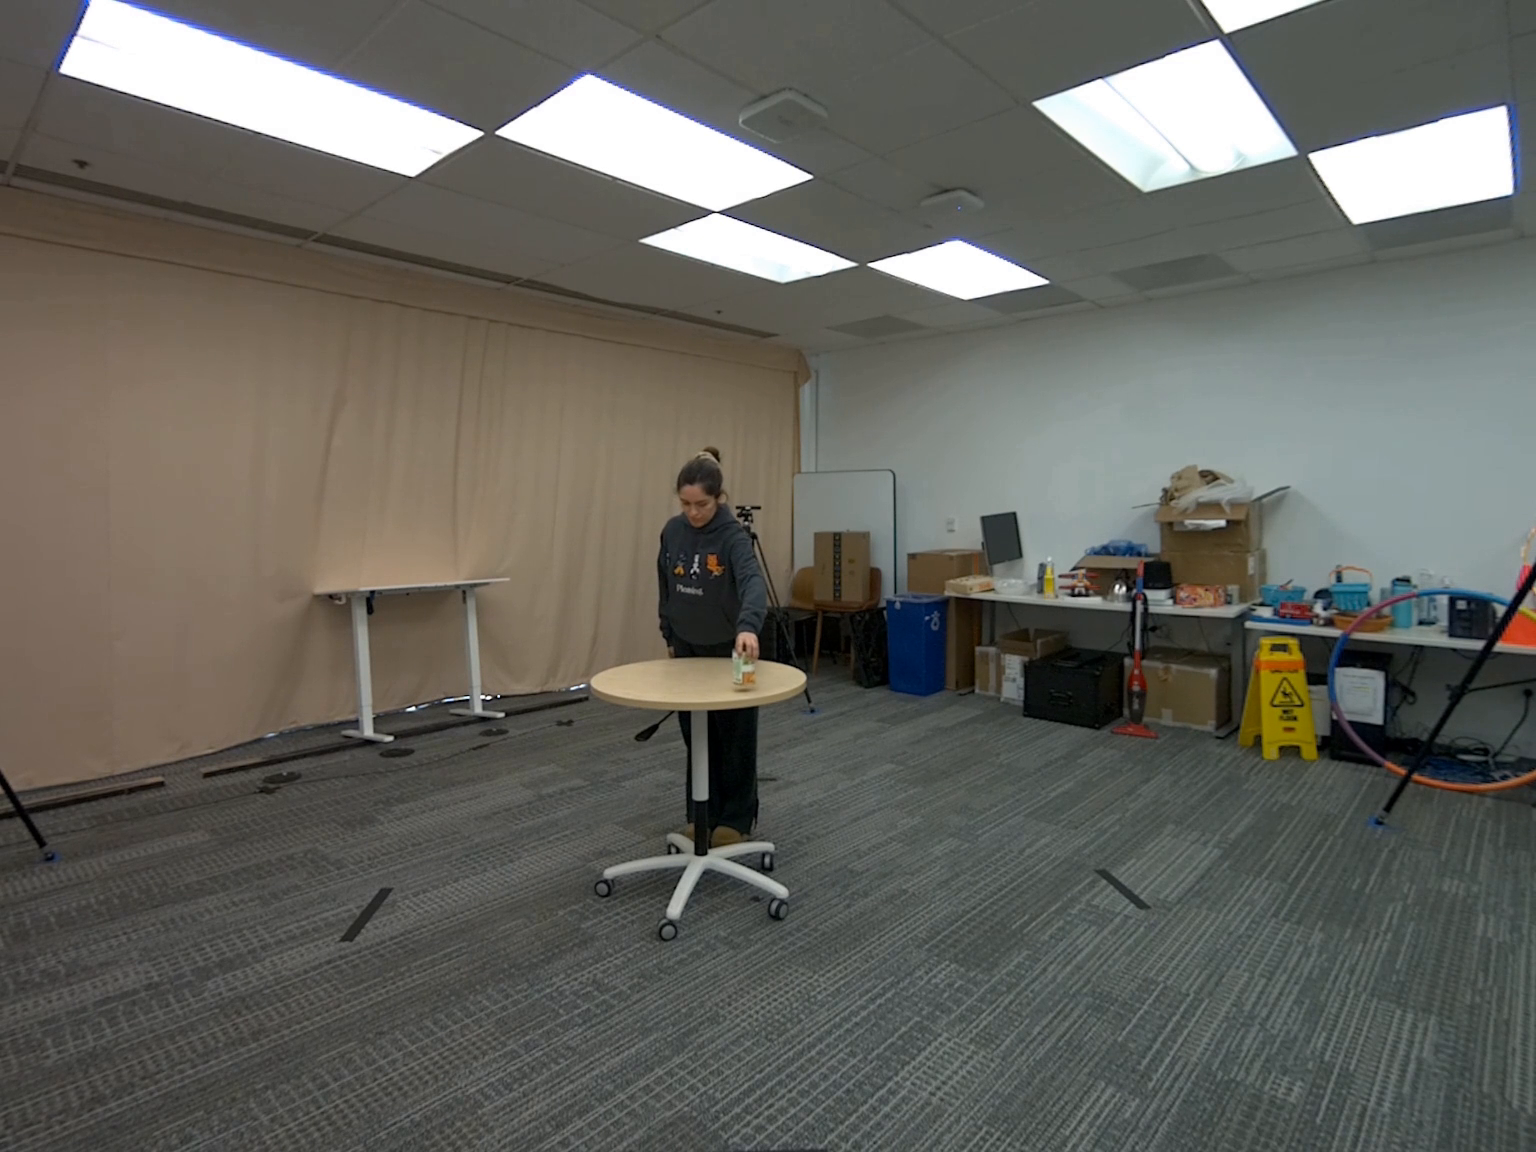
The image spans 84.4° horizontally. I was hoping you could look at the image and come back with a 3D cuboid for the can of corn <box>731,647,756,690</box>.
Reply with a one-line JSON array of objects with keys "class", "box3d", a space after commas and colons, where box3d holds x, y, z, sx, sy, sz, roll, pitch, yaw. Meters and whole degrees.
[{"class": "can of corn", "box3d": [-0.075, 0.299, 2.766, 0.074, 0.111, 0.074, 0, 2, -2]}]
